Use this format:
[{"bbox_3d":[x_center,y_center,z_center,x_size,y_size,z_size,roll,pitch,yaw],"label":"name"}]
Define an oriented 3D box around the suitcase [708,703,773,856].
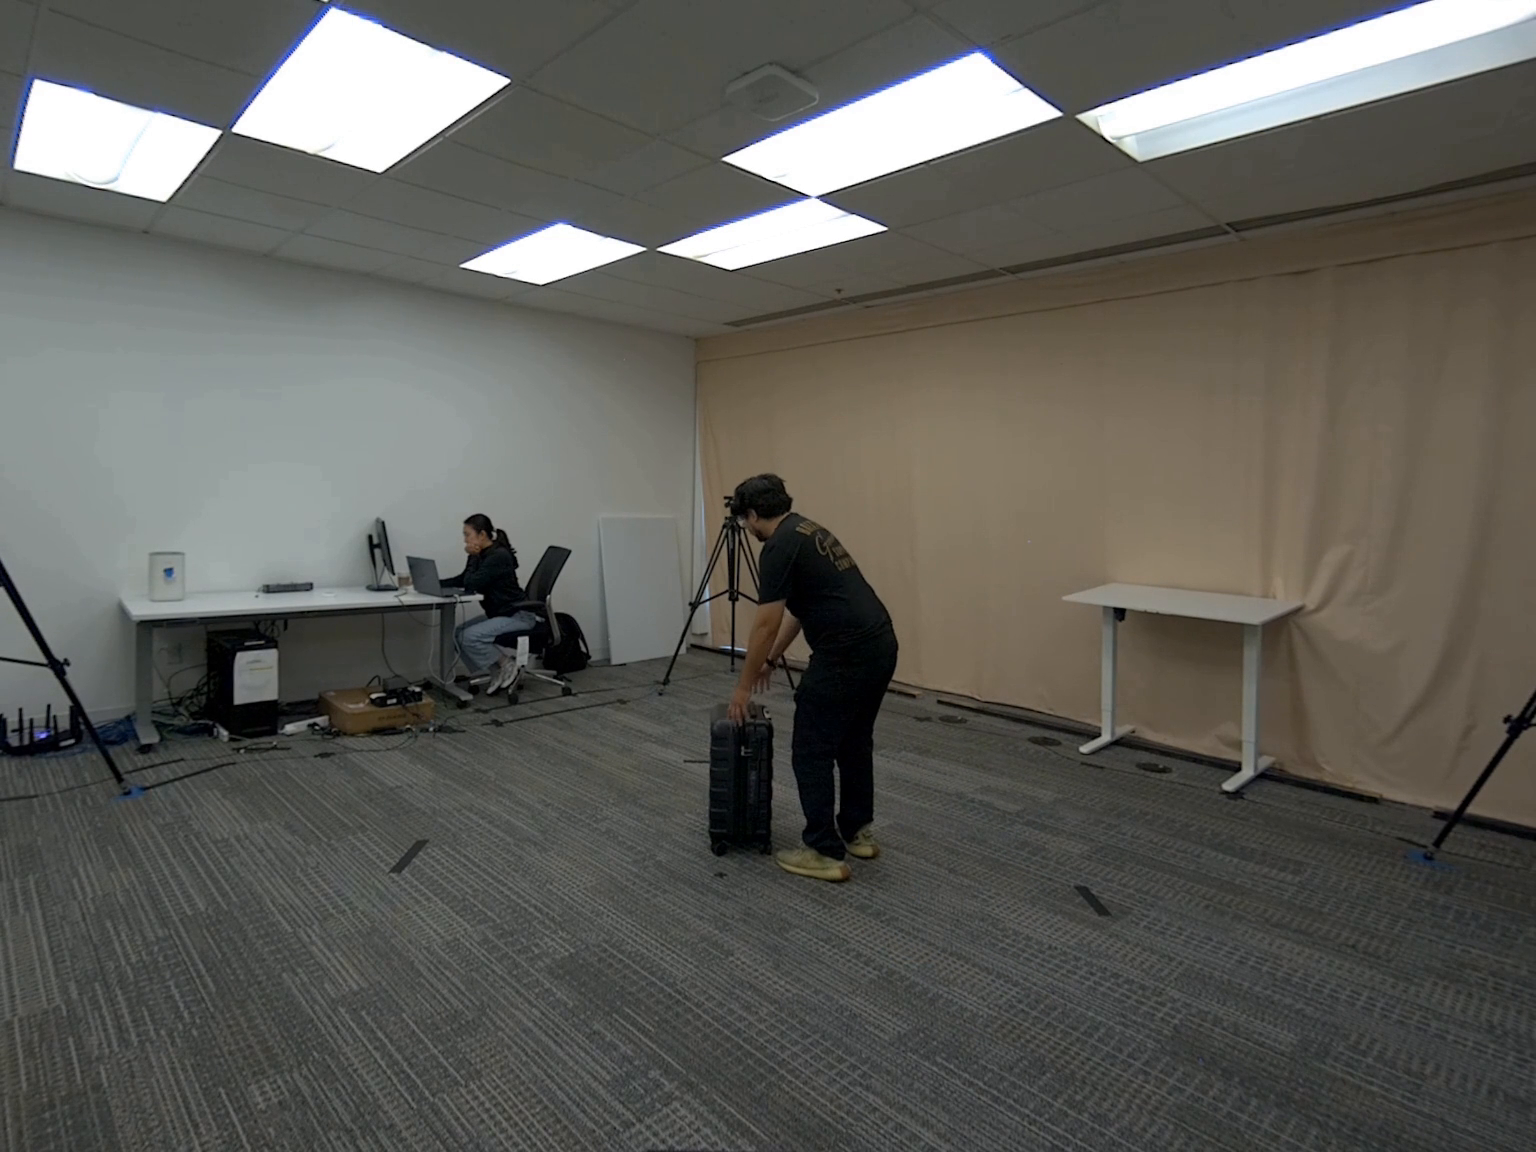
[{"bbox_3d":[-0.114,0.799,3.407,0.247,0.548,0.378,1,4,-4],"label":"suitcase"}]
